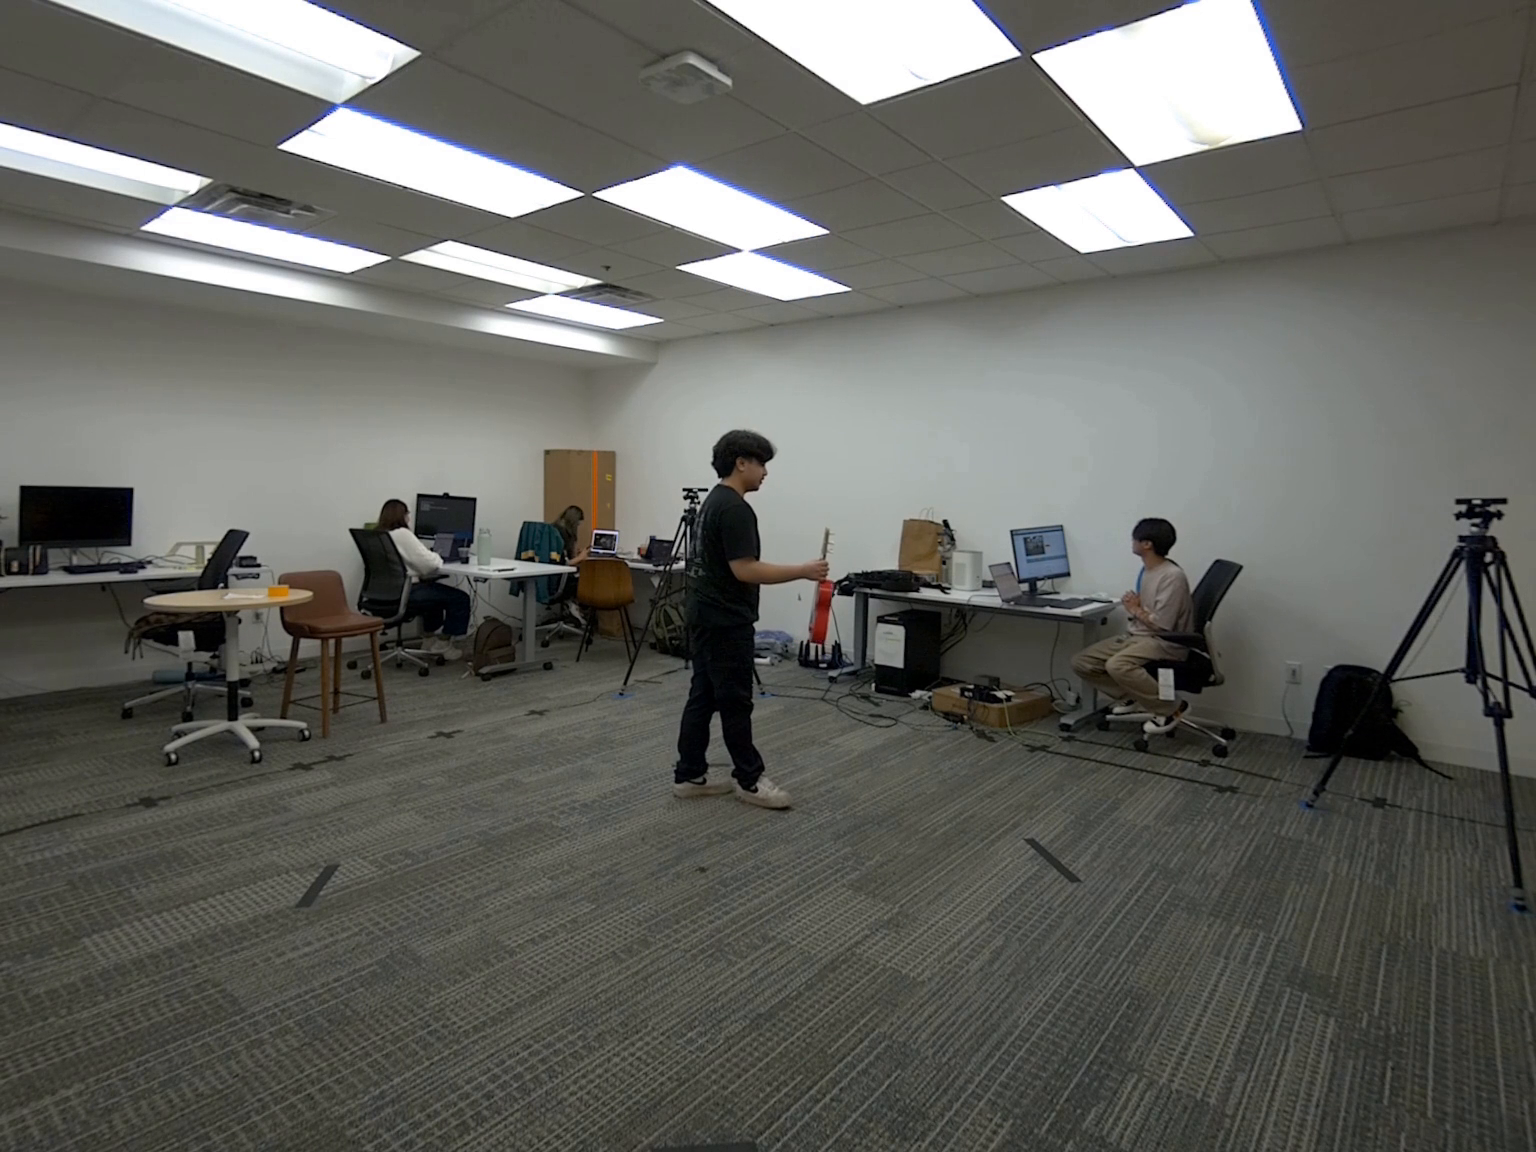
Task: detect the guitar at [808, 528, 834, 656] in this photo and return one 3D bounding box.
[{"bbox_3d":[0.231,0.049,3.598,0.070,0.491,0.196,7,18,-3],"label":"guitar"}]
